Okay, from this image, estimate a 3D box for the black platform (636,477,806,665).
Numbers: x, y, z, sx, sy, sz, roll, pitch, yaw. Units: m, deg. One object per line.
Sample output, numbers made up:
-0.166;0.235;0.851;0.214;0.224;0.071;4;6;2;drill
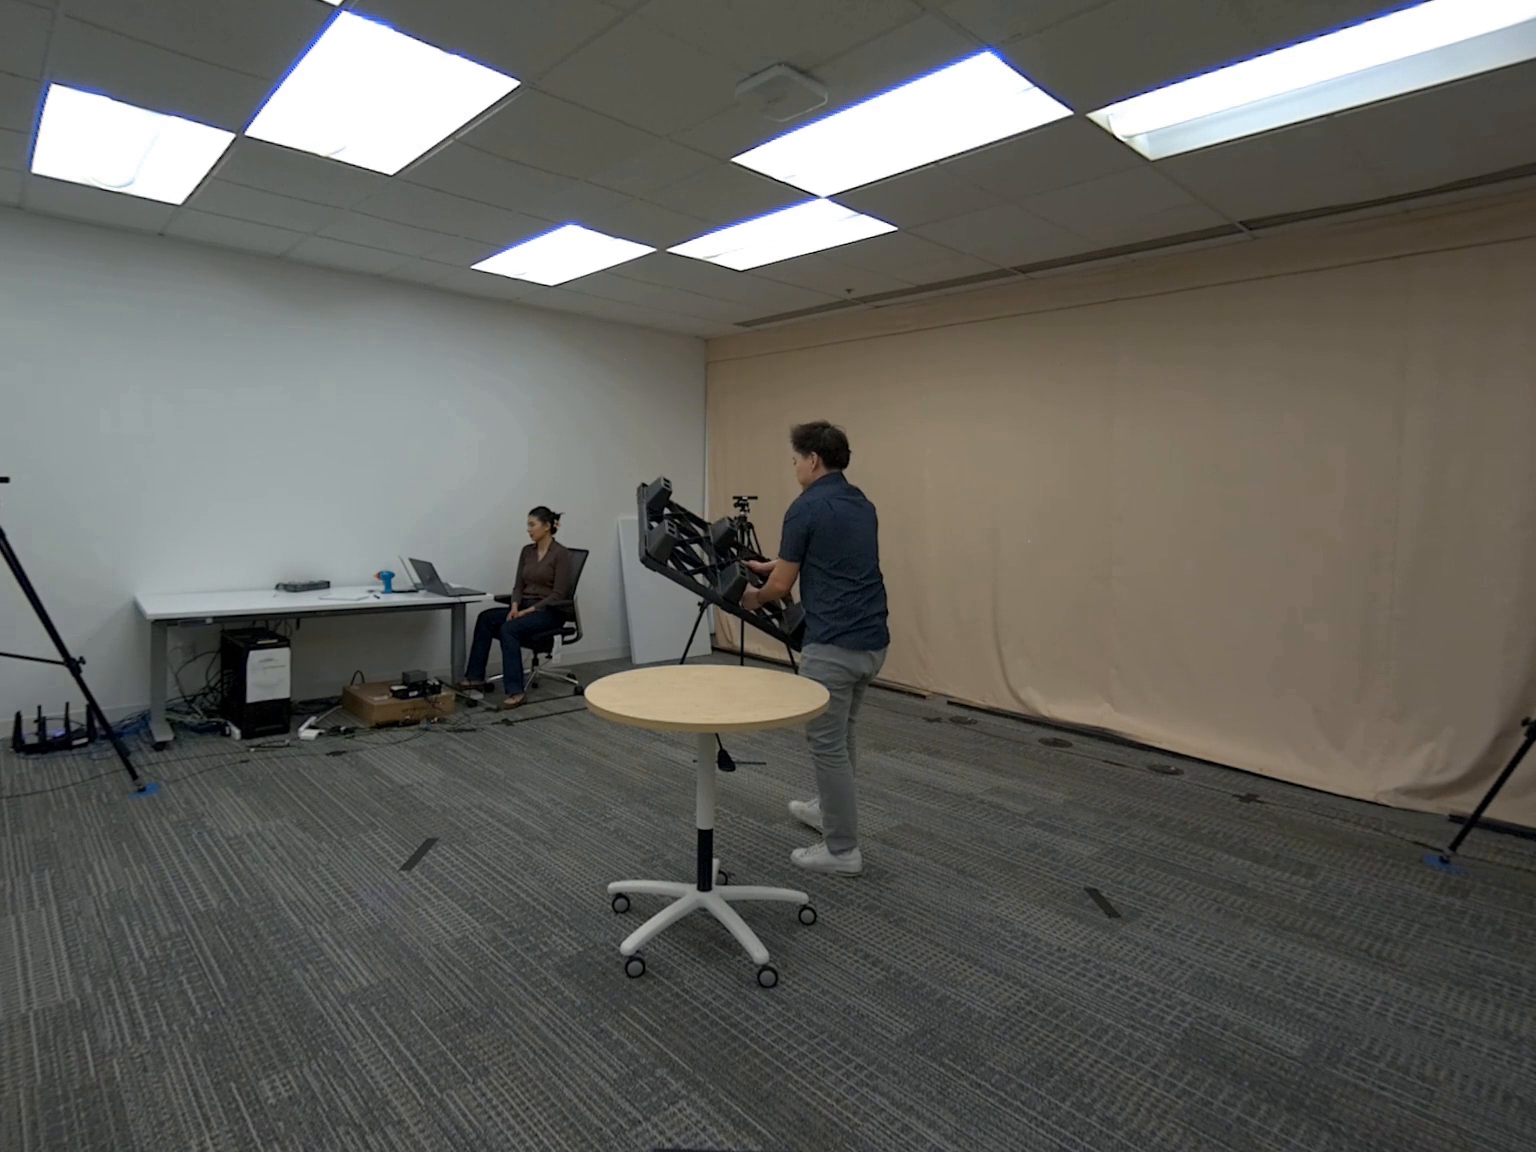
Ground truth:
-0.177;-0.073;3.468;0.786;0.143;0.620;31;24;-25;black platform
